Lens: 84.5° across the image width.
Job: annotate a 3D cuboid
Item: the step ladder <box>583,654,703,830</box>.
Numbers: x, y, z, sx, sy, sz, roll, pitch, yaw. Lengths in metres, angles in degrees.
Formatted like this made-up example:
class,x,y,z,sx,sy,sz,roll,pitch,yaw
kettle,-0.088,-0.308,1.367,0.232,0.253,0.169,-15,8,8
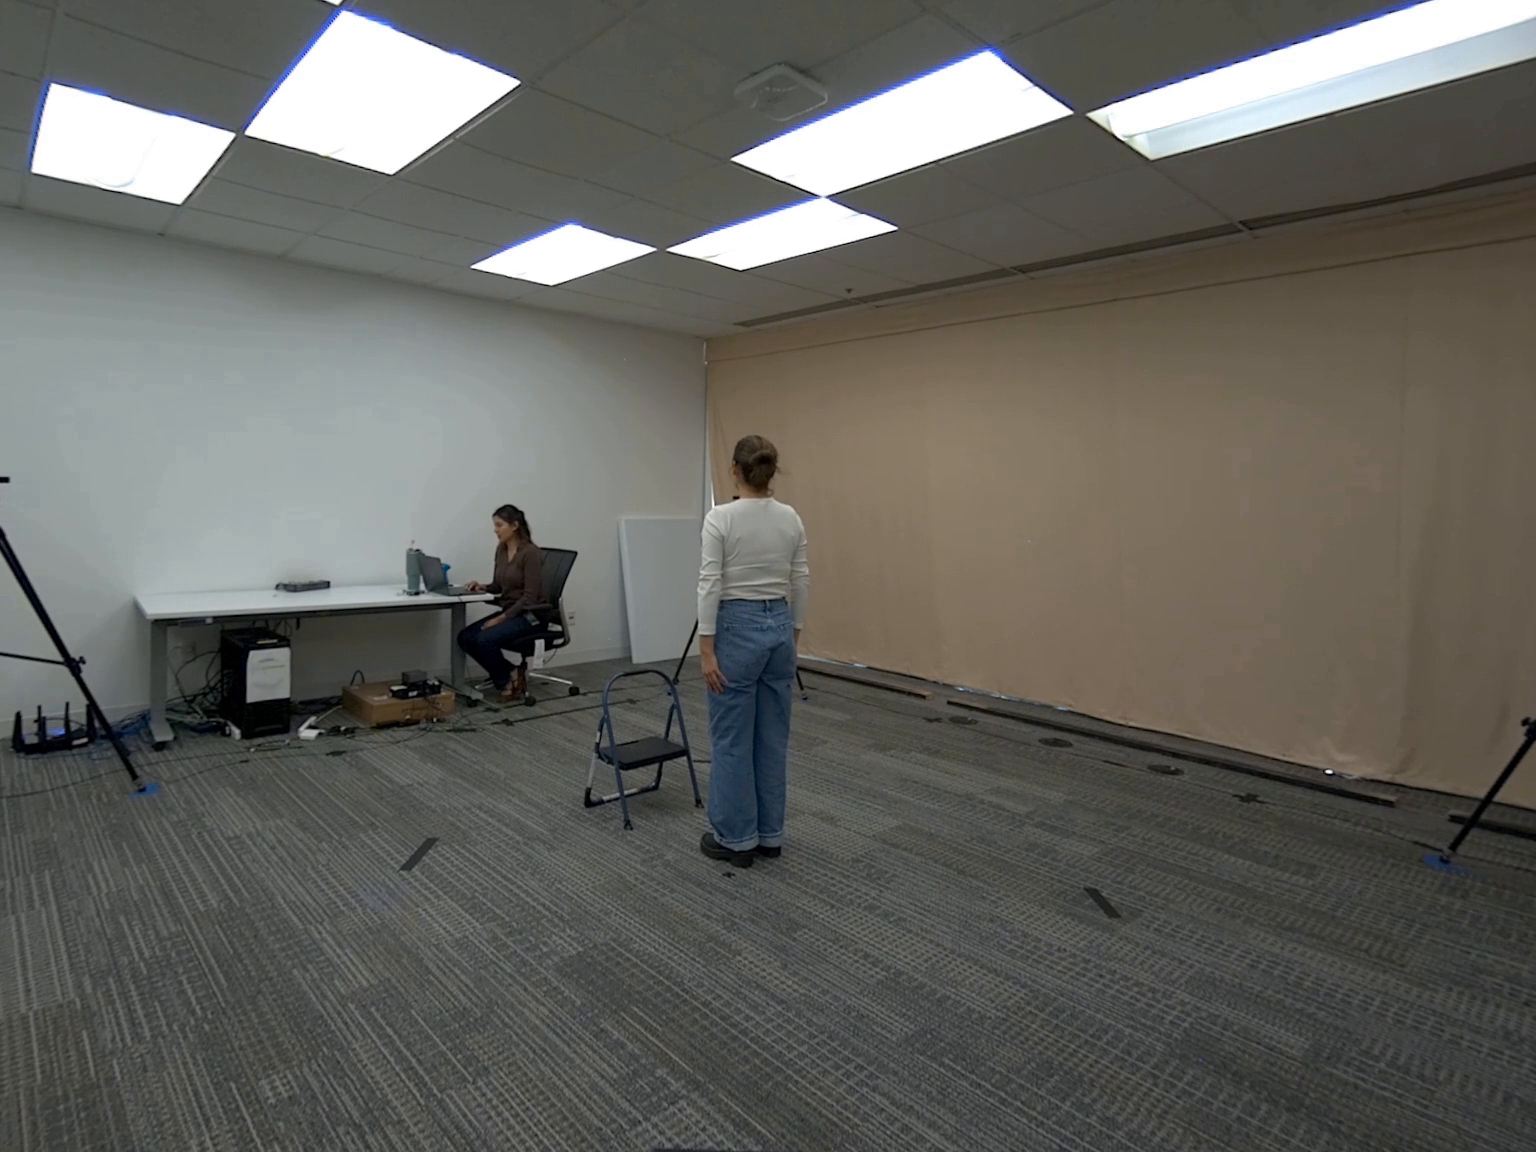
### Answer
class,x,y,z,sx,sy,sz,roll,pitch,yaw
step ladder,-0.555,0.733,3.753,0.358,0.605,0.420,5,4,45
